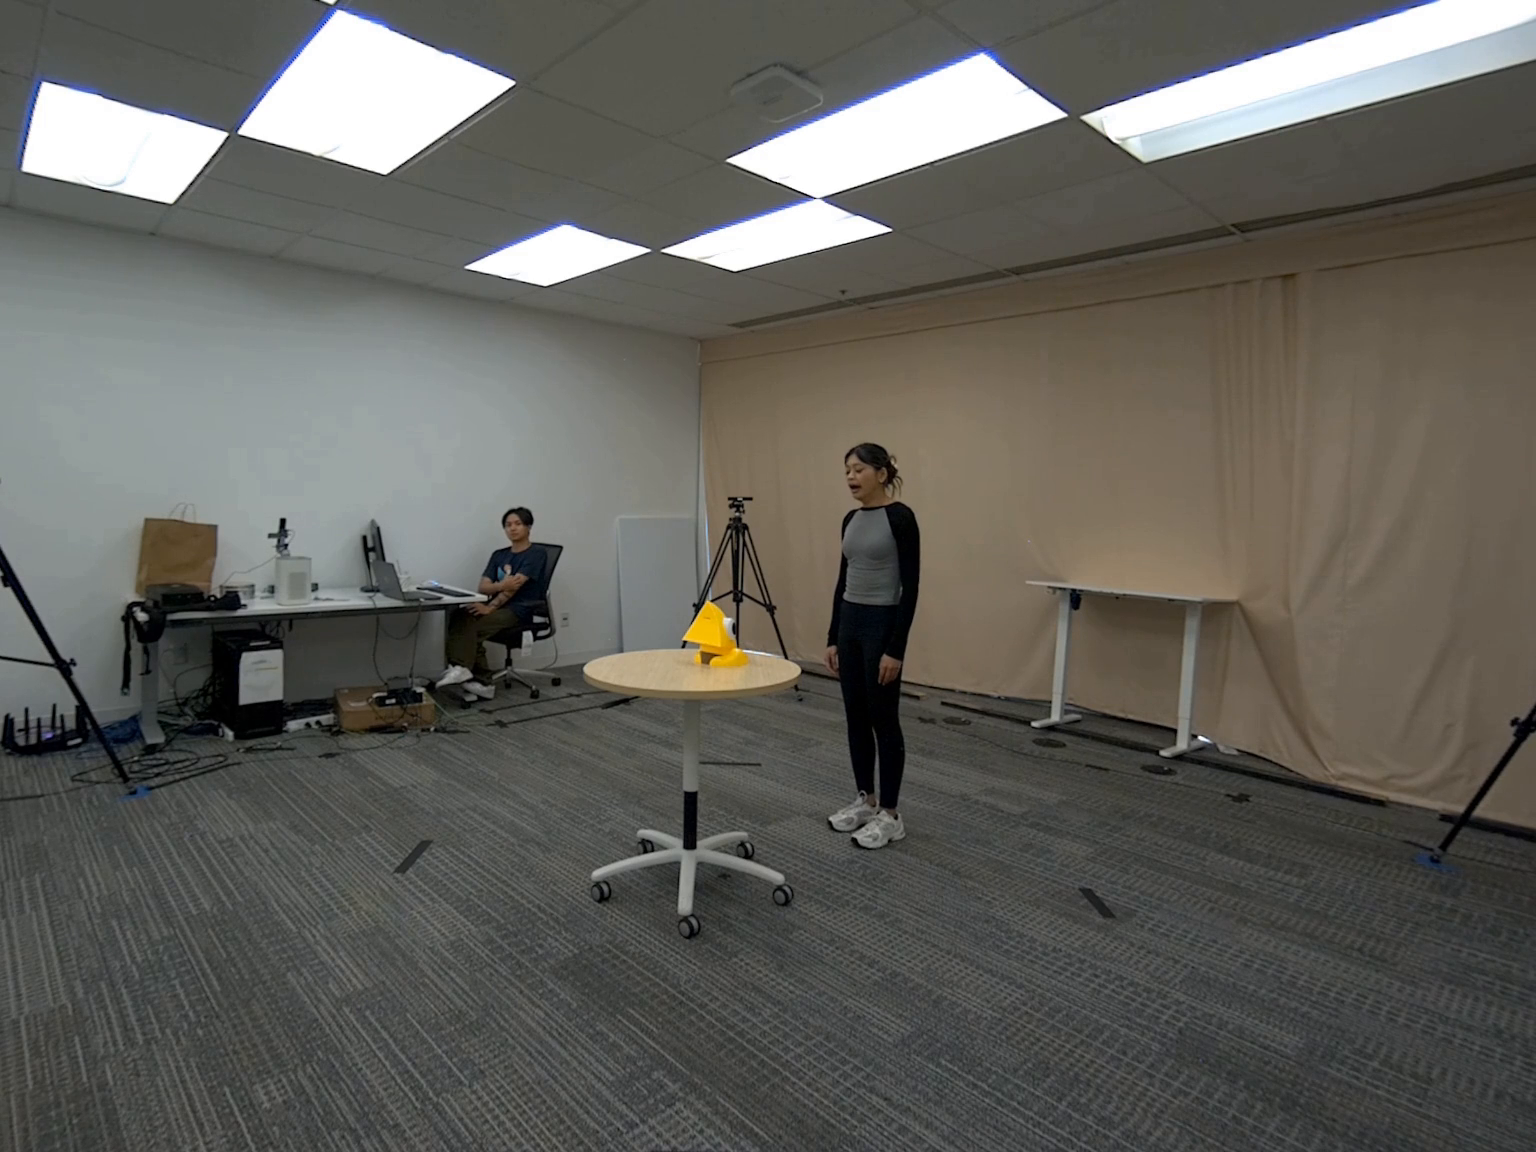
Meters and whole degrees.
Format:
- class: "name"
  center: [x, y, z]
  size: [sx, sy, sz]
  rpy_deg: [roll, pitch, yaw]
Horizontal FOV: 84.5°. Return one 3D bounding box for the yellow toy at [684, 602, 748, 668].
- class: "yellow toy"
  center: [-0.184, 0.202, 3.084]
  size: [0.210, 0.230, 0.189]
  rpy_deg: [4, 5, 44]
